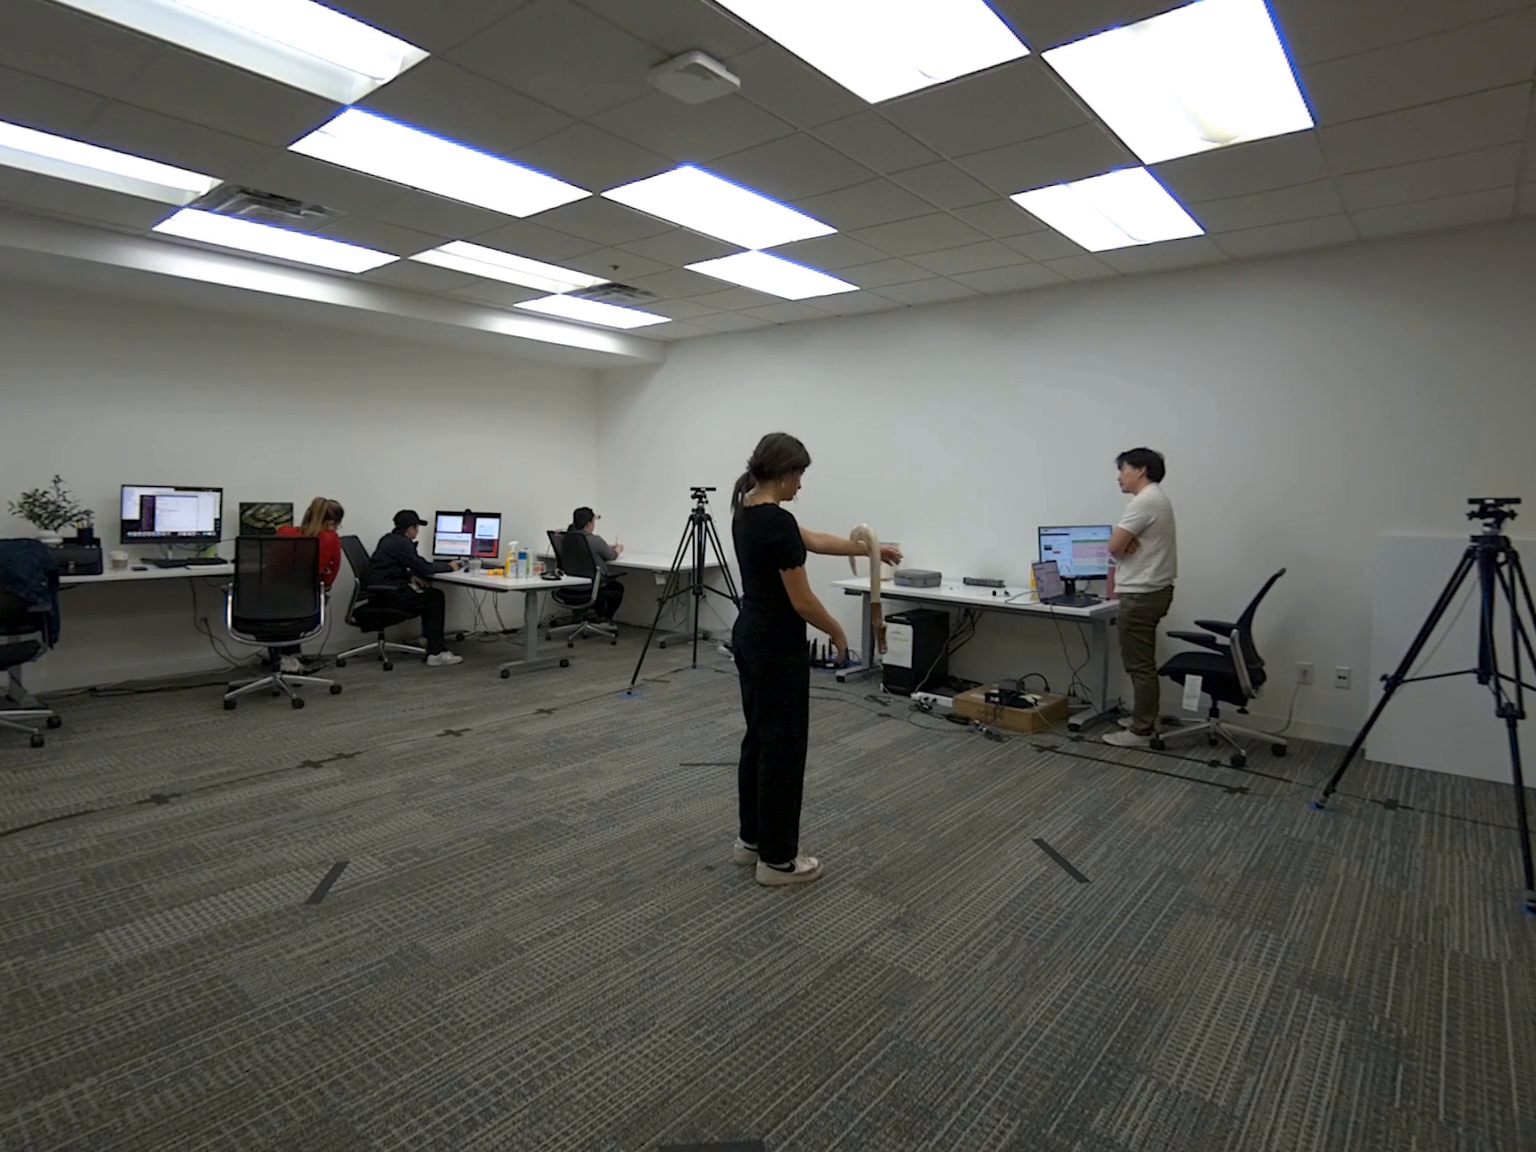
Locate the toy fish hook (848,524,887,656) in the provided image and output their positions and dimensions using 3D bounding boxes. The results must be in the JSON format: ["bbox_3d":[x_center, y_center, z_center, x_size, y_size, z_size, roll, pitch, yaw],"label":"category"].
[{"bbox_3d":[0.376,0.050,3.332,0.047,0.509,0.227,-5,-5,-19],"label":"toy fish hook"}]
